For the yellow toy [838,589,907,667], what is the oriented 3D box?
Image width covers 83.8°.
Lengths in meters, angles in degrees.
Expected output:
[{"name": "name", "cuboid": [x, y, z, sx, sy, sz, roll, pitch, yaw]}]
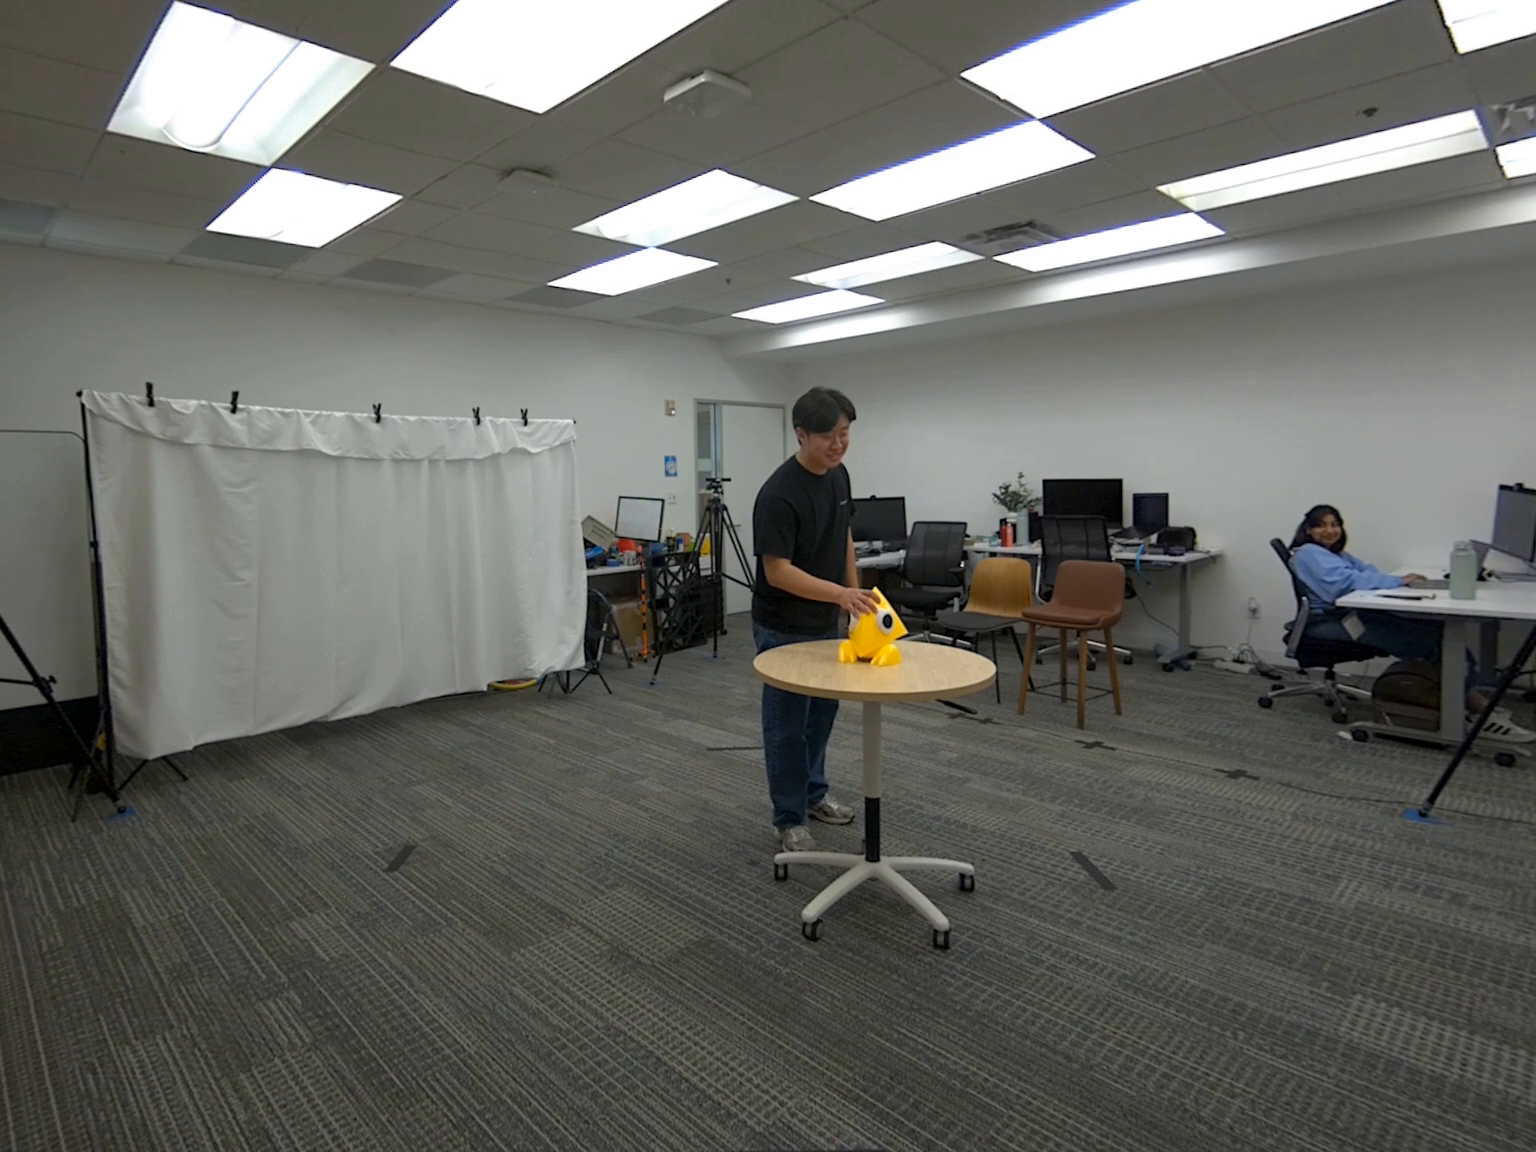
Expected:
[{"name": "yellow toy", "cuboid": [0.332, 0.161, 2.802, 0.210, 0.230, 0.189, 2, 6, 27]}]
